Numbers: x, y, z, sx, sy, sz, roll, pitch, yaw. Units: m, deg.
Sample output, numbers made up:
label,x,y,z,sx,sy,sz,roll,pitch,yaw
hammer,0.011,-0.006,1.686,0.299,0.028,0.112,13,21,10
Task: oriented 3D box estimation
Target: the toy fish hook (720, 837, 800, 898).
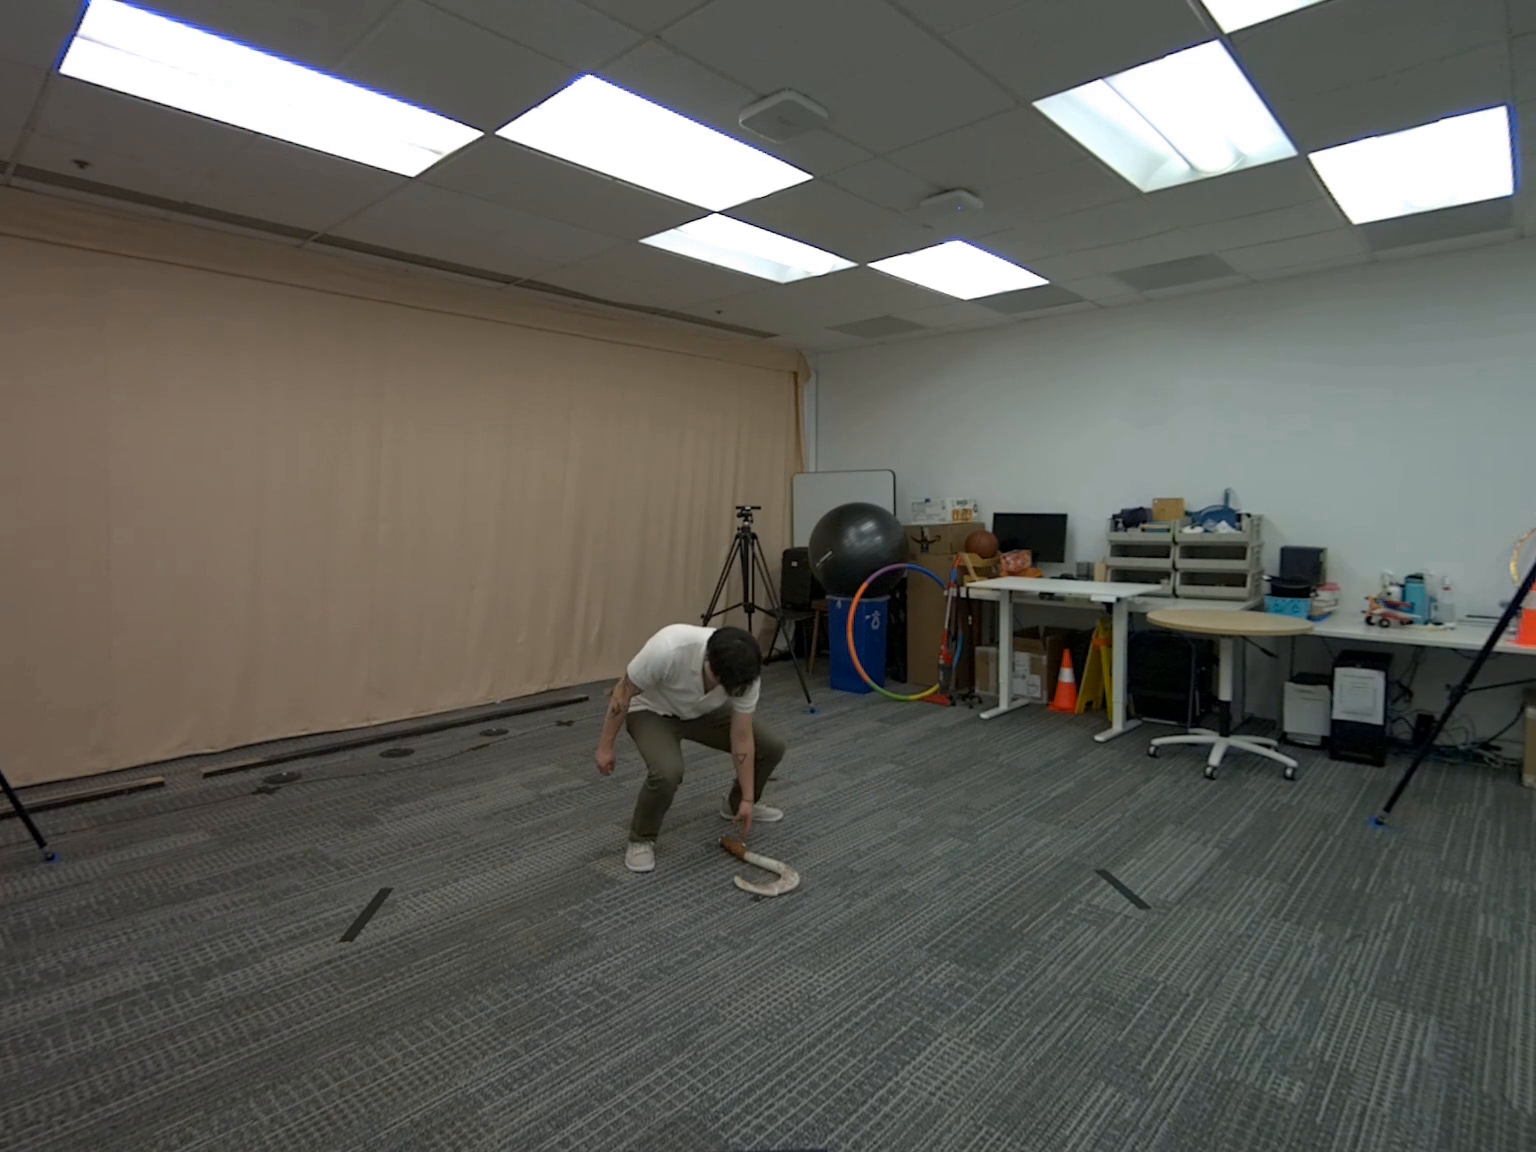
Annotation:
label,x,y,z,sx,sy,sz,roll,pitch,yaw
toy fish hook,-0.084,1.097,3.218,0.218,0.048,0.522,-3,5,-34
